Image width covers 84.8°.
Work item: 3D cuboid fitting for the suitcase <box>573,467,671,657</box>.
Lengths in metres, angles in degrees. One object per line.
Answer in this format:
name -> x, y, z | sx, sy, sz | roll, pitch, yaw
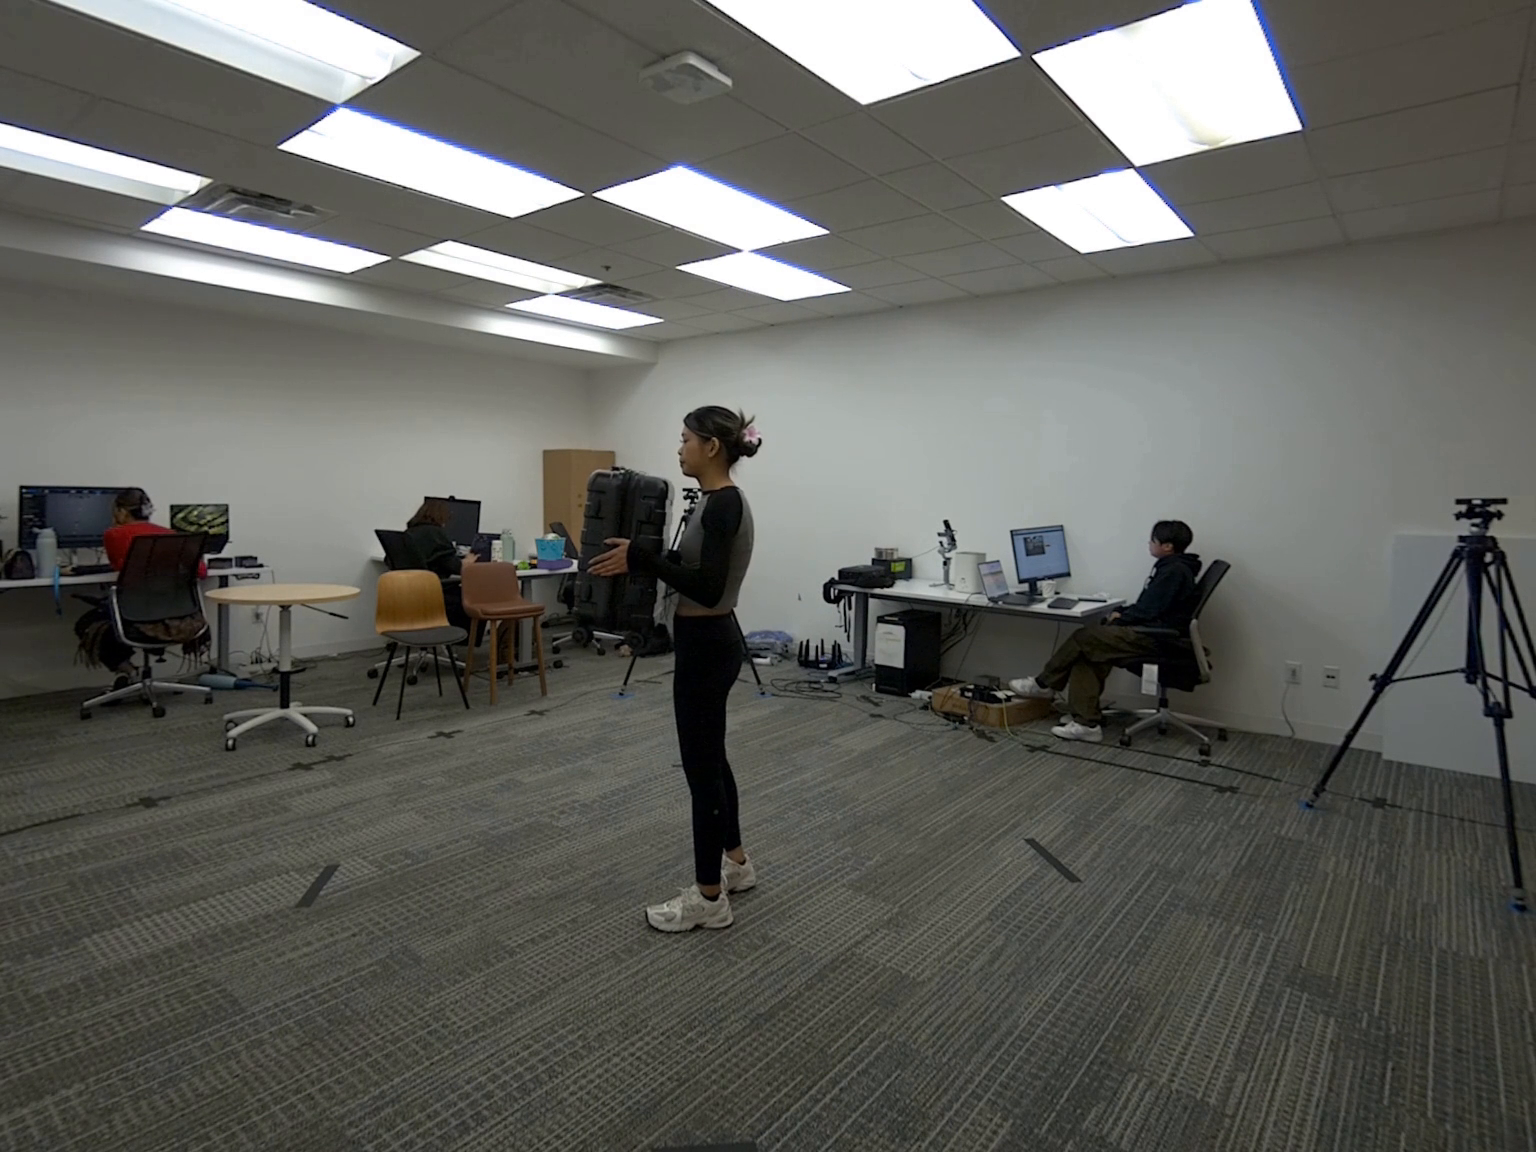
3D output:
suitcase -> -0.466, -0.072, 2.724 | 0.248, 0.549, 0.376 | 5, 1, -1
